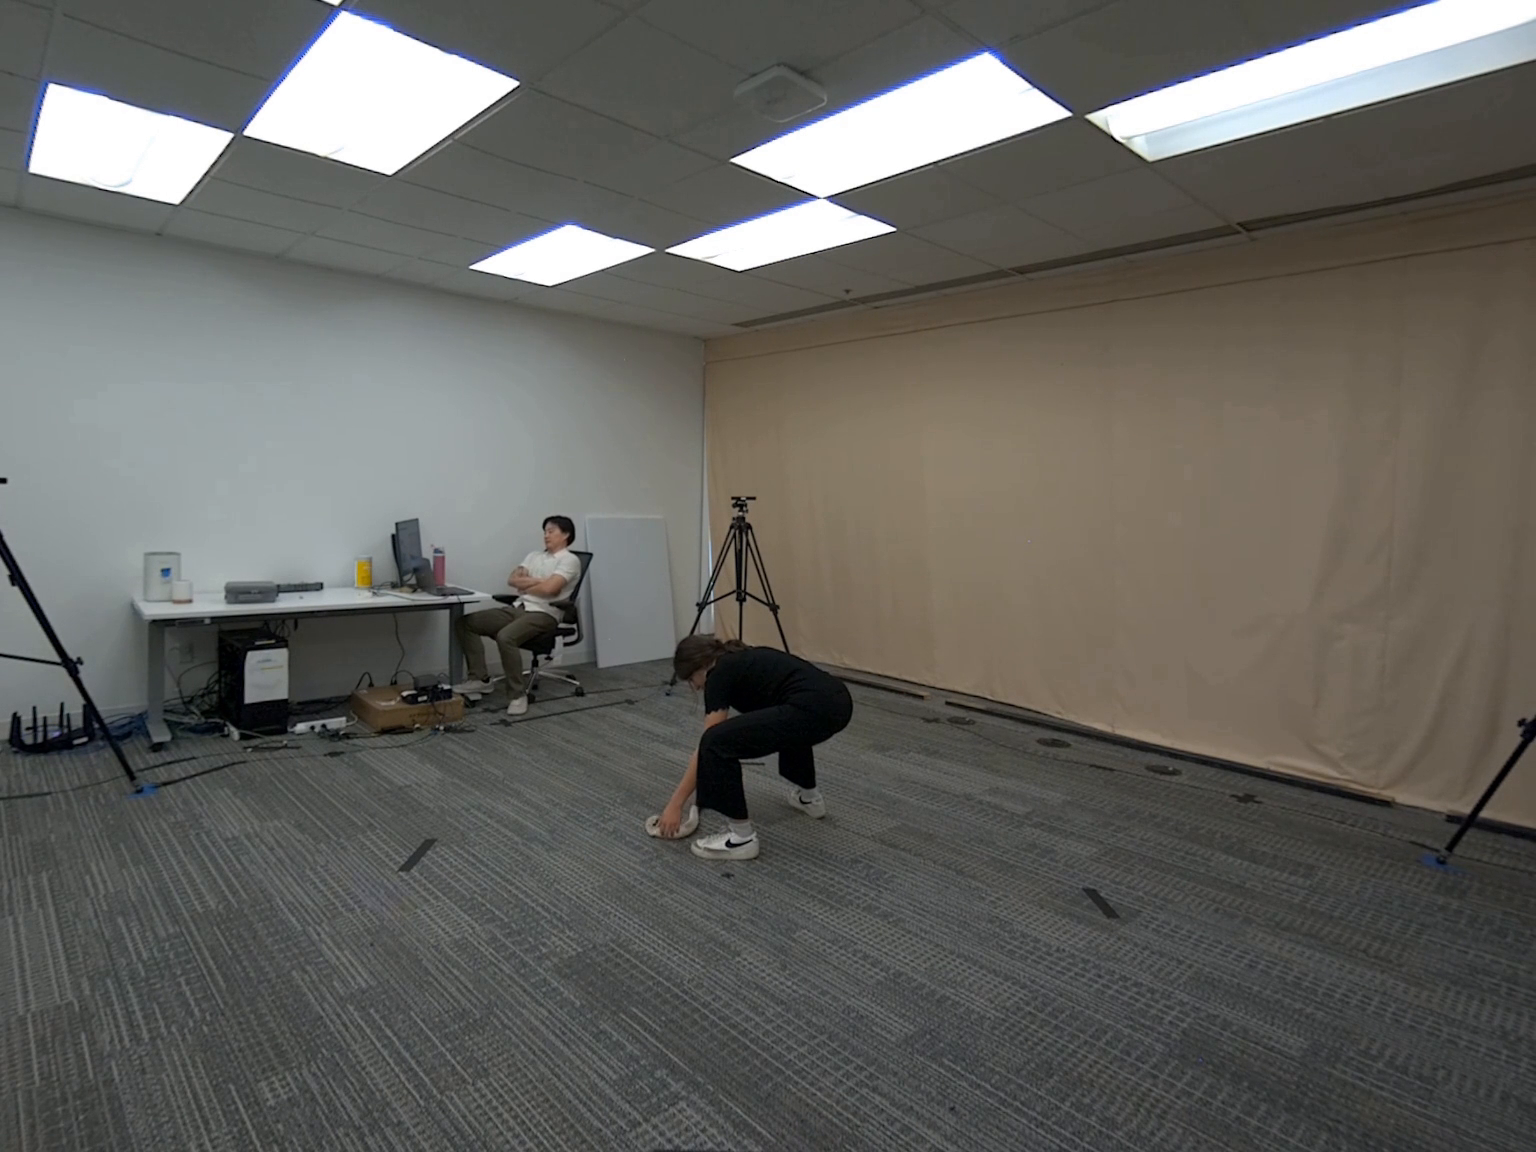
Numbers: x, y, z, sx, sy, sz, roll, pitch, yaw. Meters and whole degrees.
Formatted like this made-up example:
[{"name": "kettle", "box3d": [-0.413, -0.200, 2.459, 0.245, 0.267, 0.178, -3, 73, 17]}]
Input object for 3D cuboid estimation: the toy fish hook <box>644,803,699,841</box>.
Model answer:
[{"name": "toy fish hook", "box3d": [-0.389, 1.029, 3.659, 0.227, 0.048, 0.502, 5, 6, 12]}]
